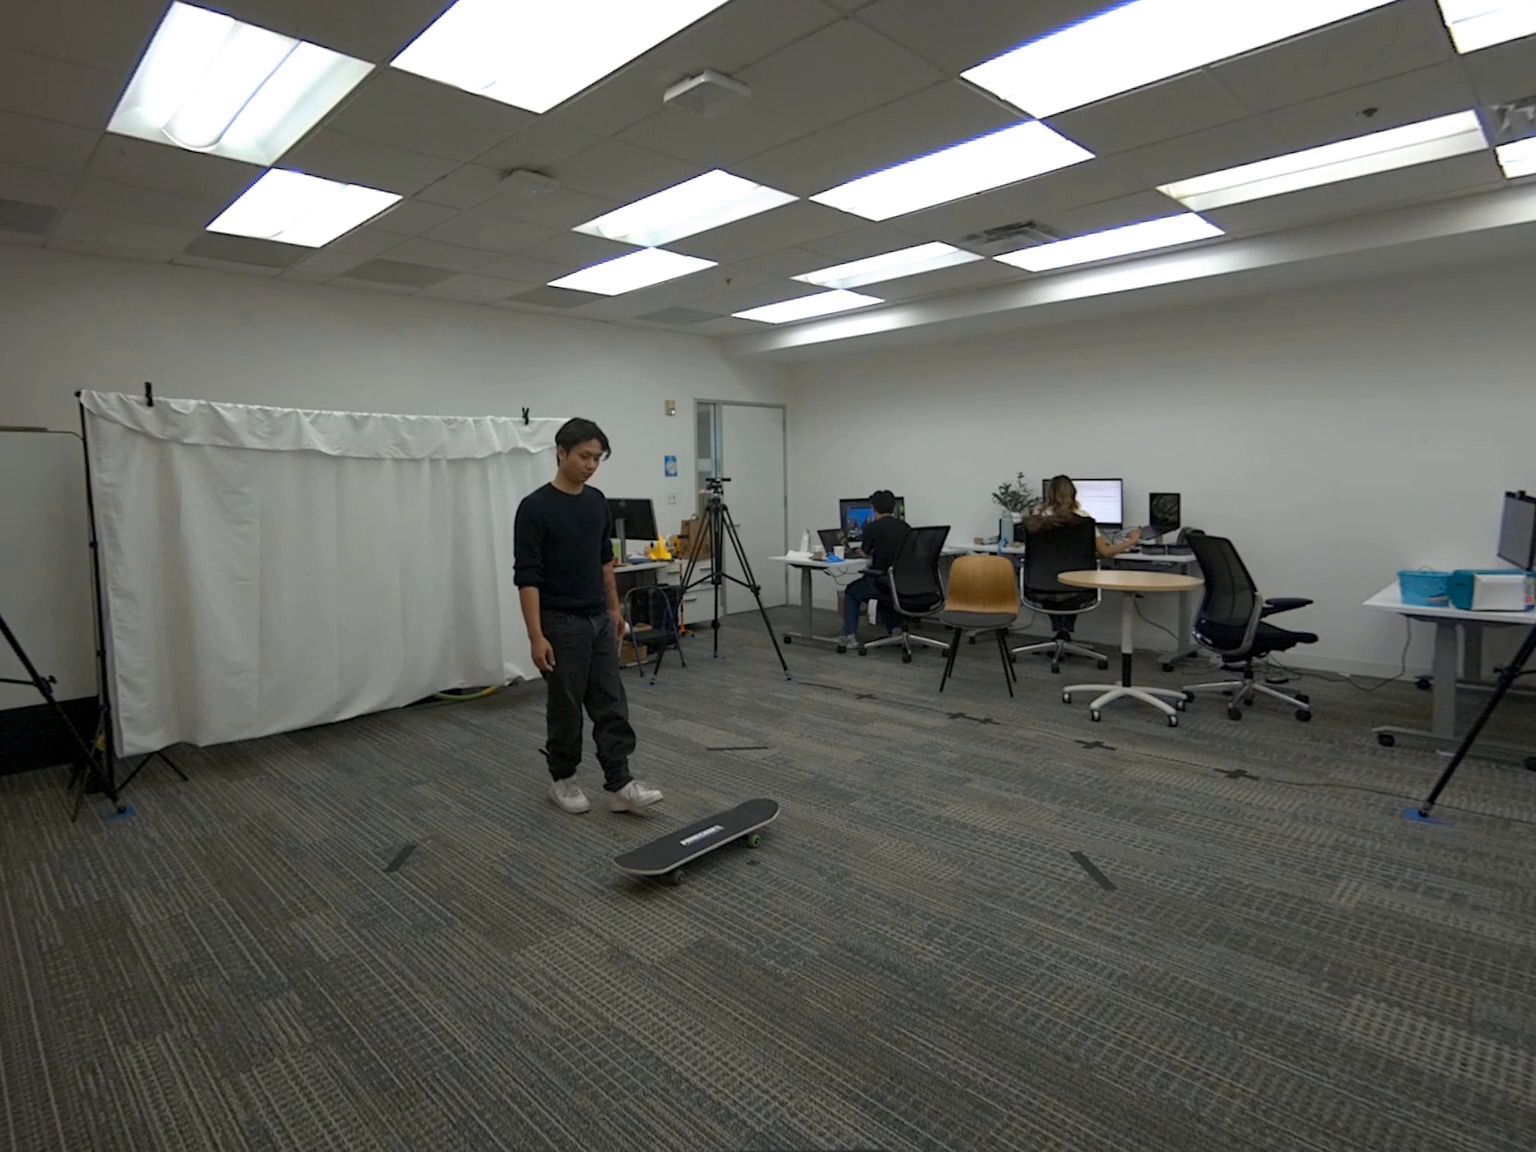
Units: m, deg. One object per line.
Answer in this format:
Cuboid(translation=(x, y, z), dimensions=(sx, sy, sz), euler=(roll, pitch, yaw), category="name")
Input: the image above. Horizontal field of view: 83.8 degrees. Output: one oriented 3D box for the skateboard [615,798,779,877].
Cuboid(translation=(-0.239, 0.980, 3.148), dimensions=(0.199, 0.110, 0.765), euler=(4, 9, 41), category="skateboard")
